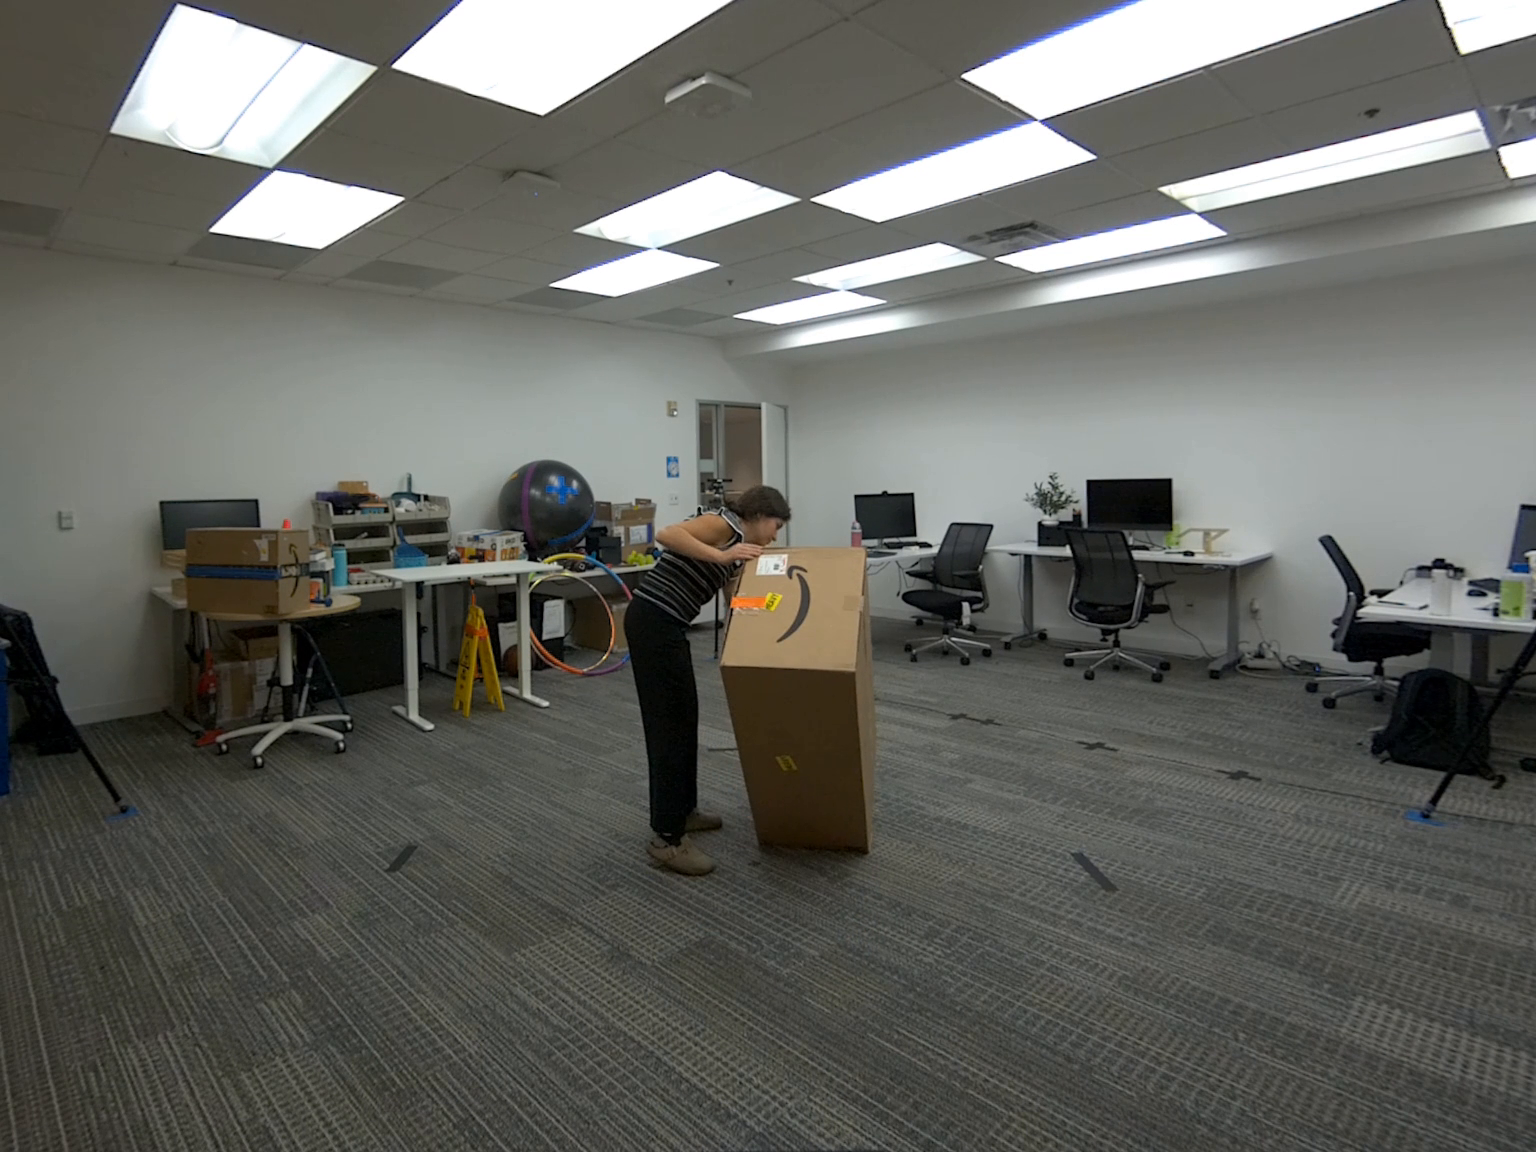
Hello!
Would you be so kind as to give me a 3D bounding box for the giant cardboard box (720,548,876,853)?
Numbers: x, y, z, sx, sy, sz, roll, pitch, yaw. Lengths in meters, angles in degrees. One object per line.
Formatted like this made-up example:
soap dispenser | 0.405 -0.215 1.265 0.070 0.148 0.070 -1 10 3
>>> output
giant cardboard box | 0.150 0.464 3.120 0.431 0.994 0.589 0 41 10
